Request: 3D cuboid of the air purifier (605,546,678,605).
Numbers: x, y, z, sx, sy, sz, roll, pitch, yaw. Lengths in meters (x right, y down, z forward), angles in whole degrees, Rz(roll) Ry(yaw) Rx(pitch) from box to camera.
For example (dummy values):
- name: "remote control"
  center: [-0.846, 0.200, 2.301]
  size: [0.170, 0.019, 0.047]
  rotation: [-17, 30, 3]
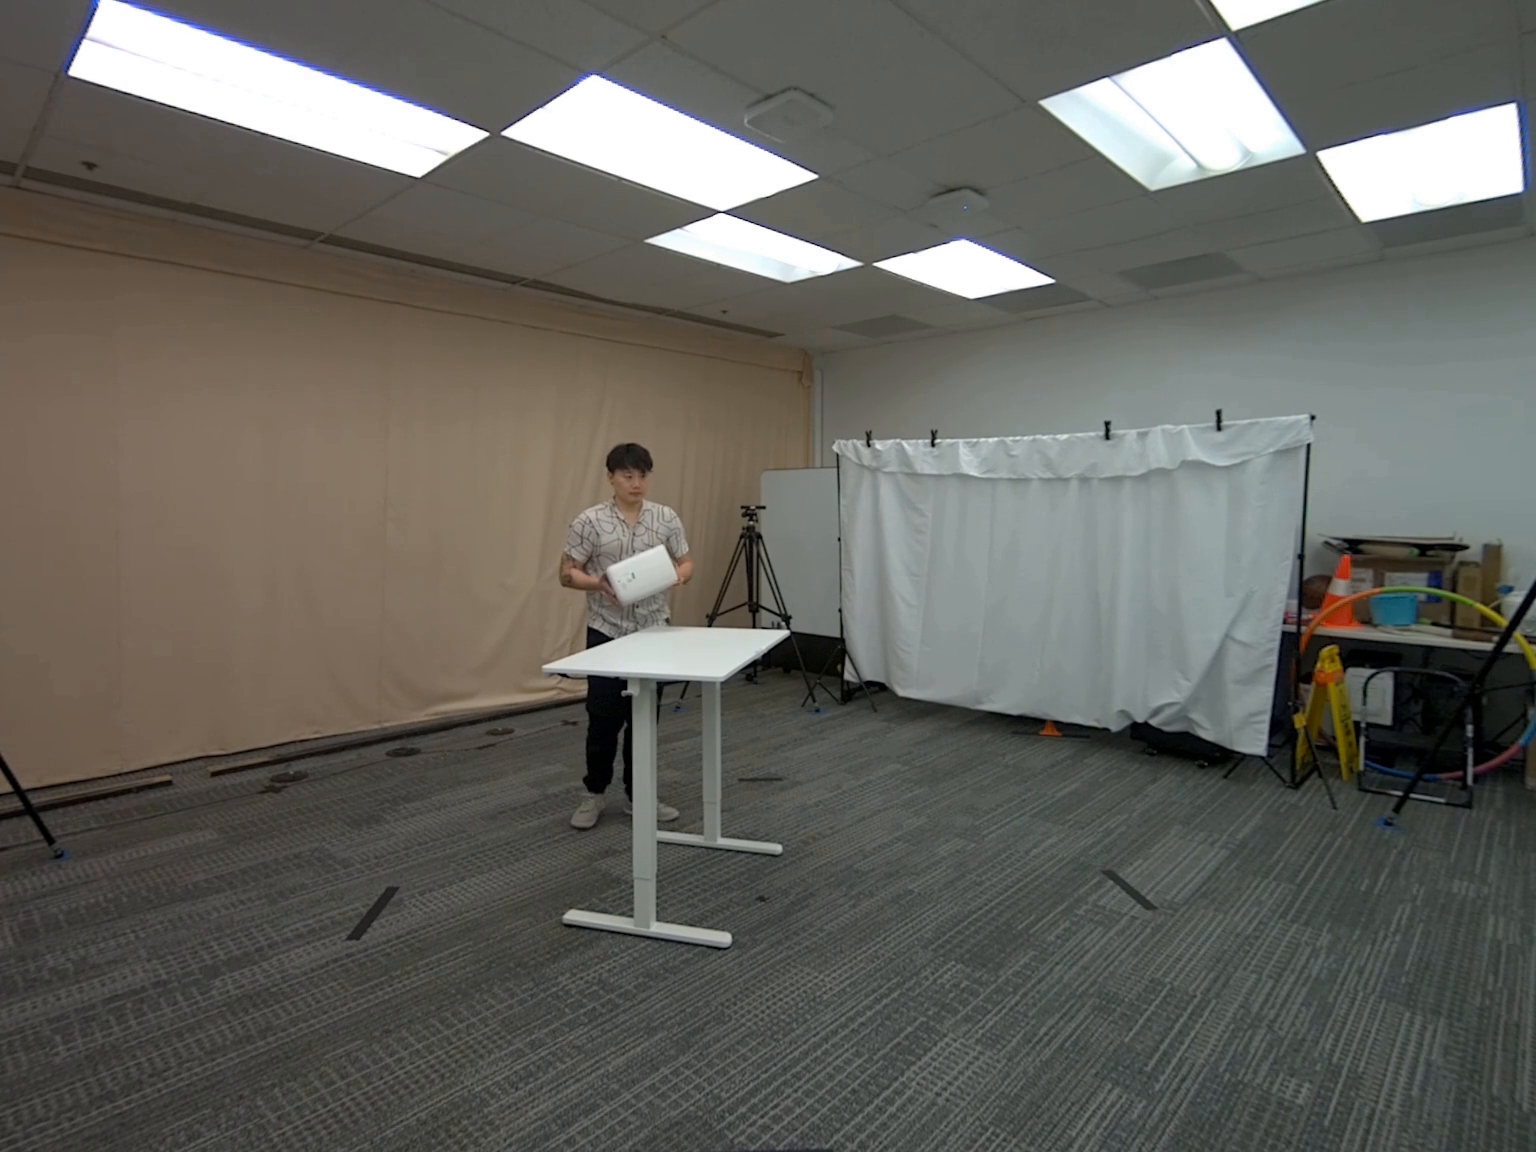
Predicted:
- name: "air purifier"
  center: [-0.535, 0.001, 3.489]
  size: [0.263, 0.173, 0.171]
  rotation: [-24, -9, -12]
